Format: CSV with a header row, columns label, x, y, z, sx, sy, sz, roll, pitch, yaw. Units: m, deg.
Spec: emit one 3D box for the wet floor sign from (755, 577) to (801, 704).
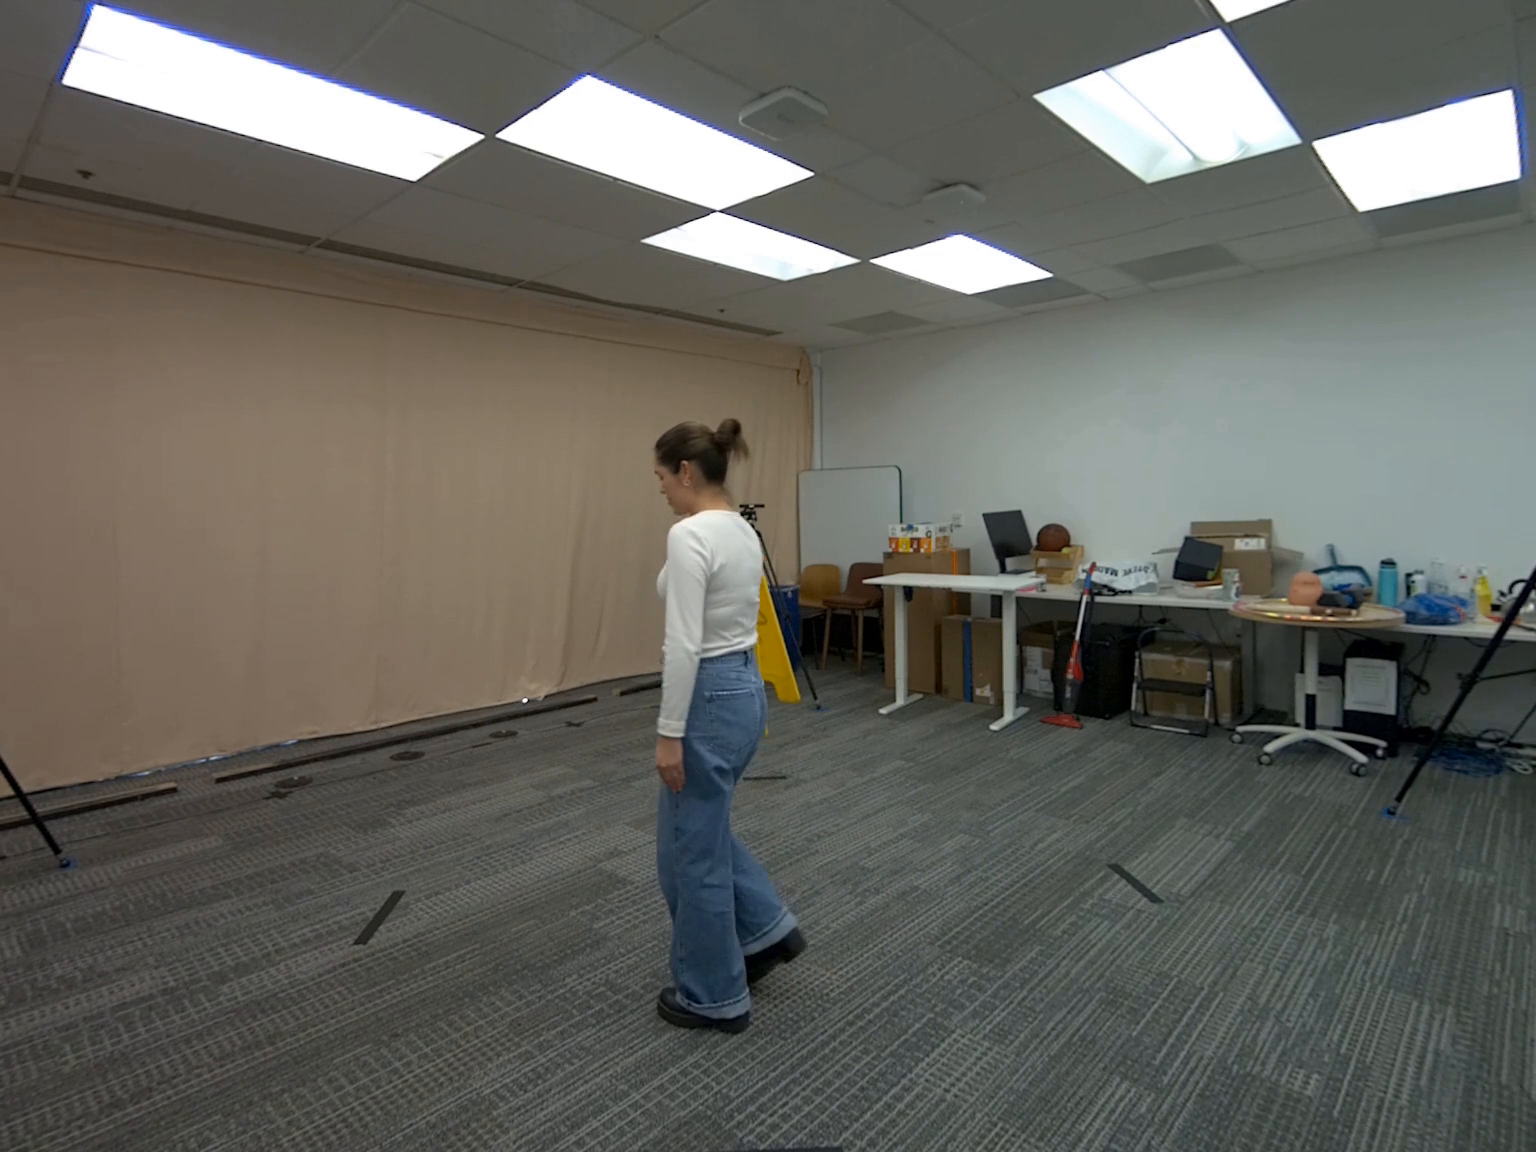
label,x,y,z,sx,sy,sz,roll,pitch,yaw
wet floor sign,-0.108,0.140,2.625,0.290,0.640,0.285,-3,14,28
